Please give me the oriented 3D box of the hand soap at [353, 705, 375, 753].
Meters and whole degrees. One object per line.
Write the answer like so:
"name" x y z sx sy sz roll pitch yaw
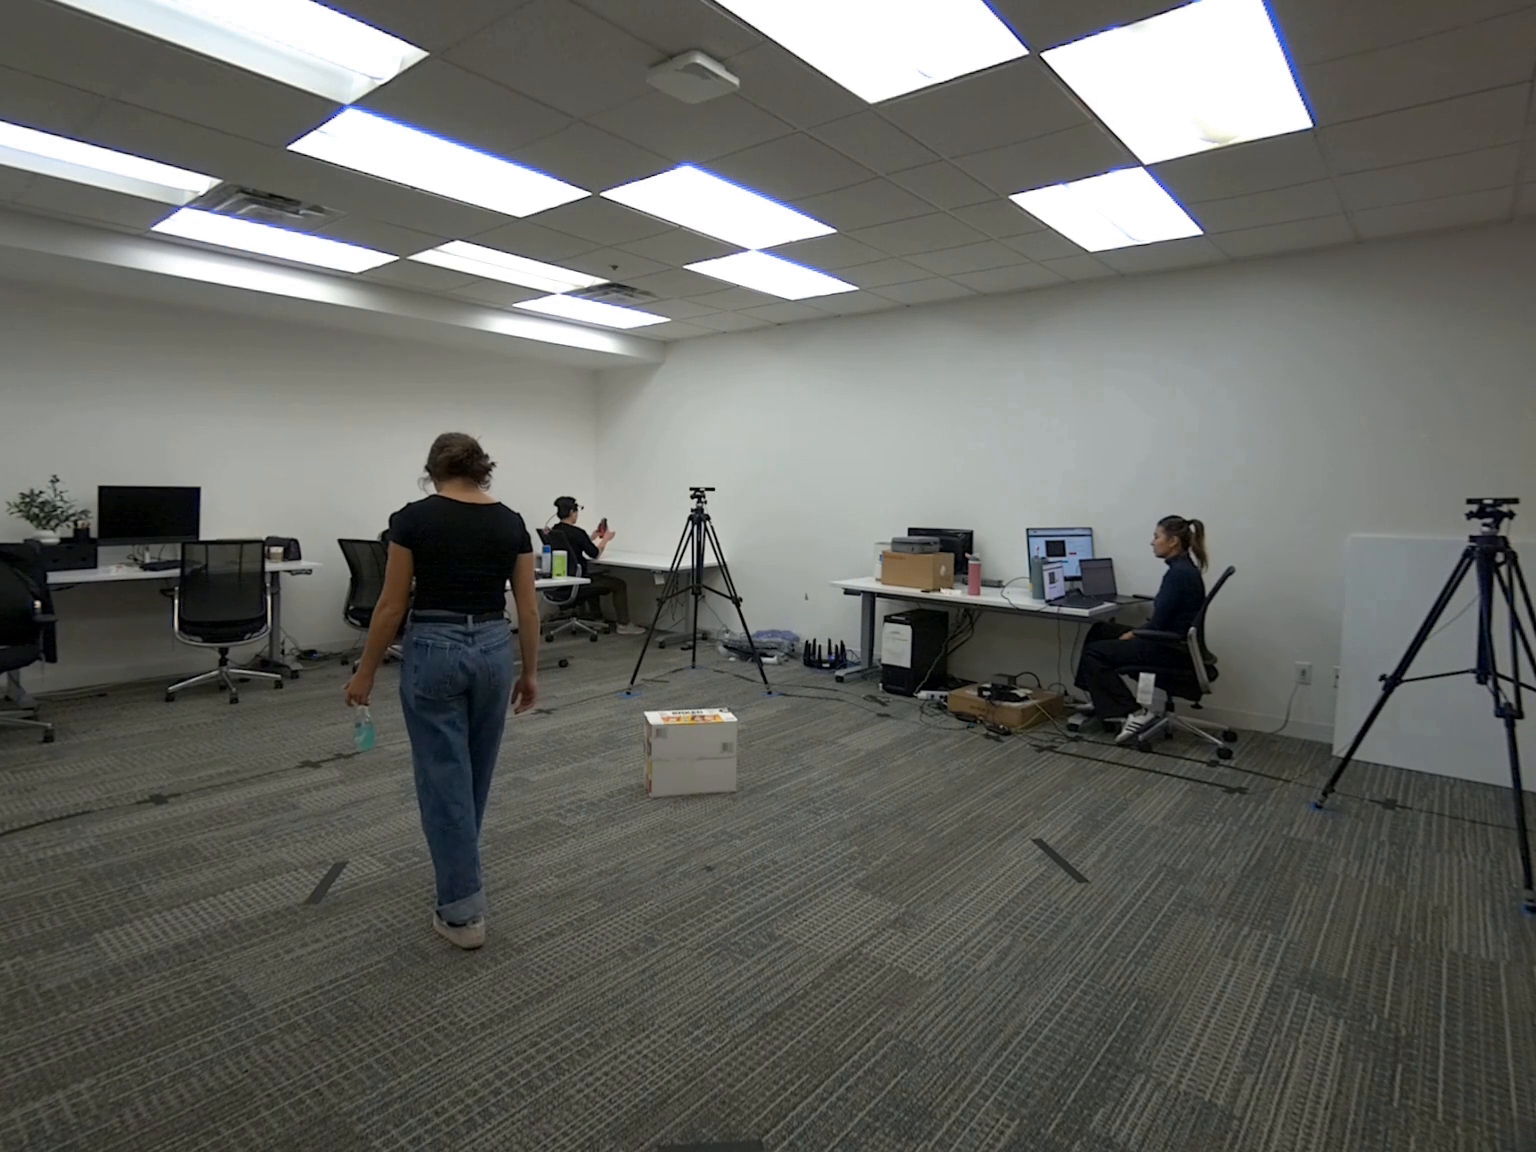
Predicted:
"hand soap" -1.289 0.463 2.675 0.086 0.168 0.042 -7 -2 24
